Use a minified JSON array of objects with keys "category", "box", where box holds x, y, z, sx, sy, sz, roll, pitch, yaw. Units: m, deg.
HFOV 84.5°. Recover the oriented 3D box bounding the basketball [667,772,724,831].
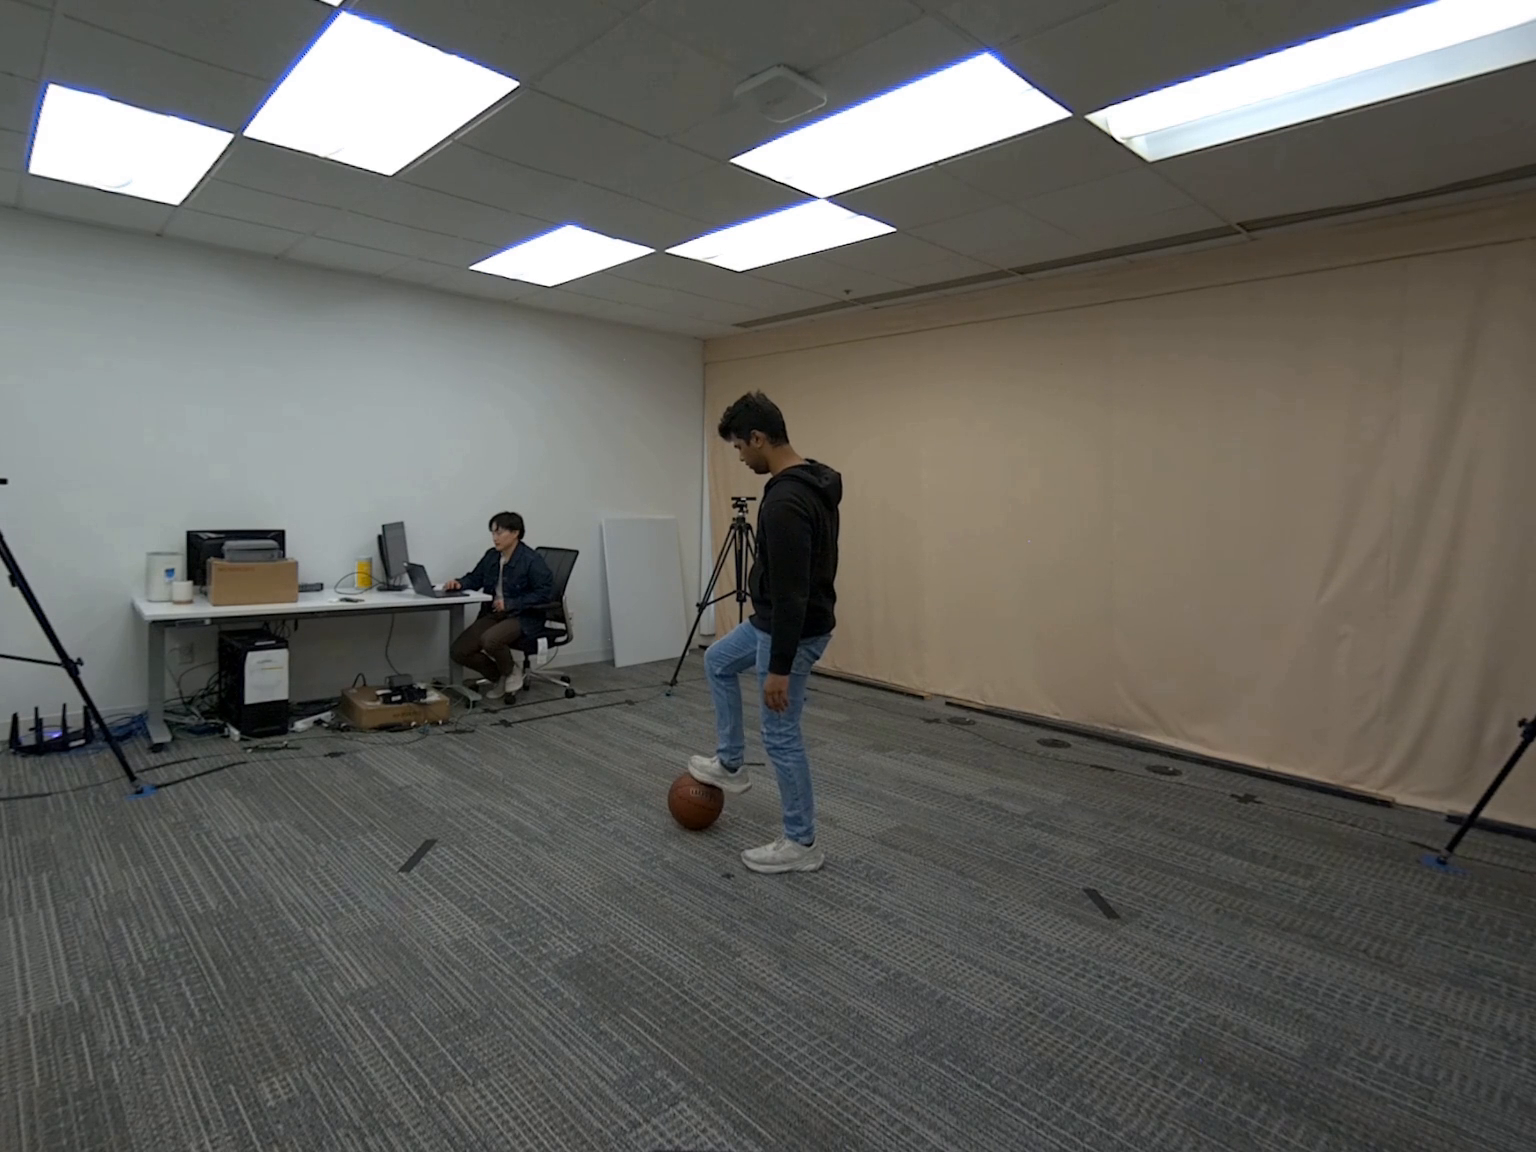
[{"category":"basketball","box":[-0.327,0.943,3.577,0.236,0.235,0.237,1,4,-1]}]
